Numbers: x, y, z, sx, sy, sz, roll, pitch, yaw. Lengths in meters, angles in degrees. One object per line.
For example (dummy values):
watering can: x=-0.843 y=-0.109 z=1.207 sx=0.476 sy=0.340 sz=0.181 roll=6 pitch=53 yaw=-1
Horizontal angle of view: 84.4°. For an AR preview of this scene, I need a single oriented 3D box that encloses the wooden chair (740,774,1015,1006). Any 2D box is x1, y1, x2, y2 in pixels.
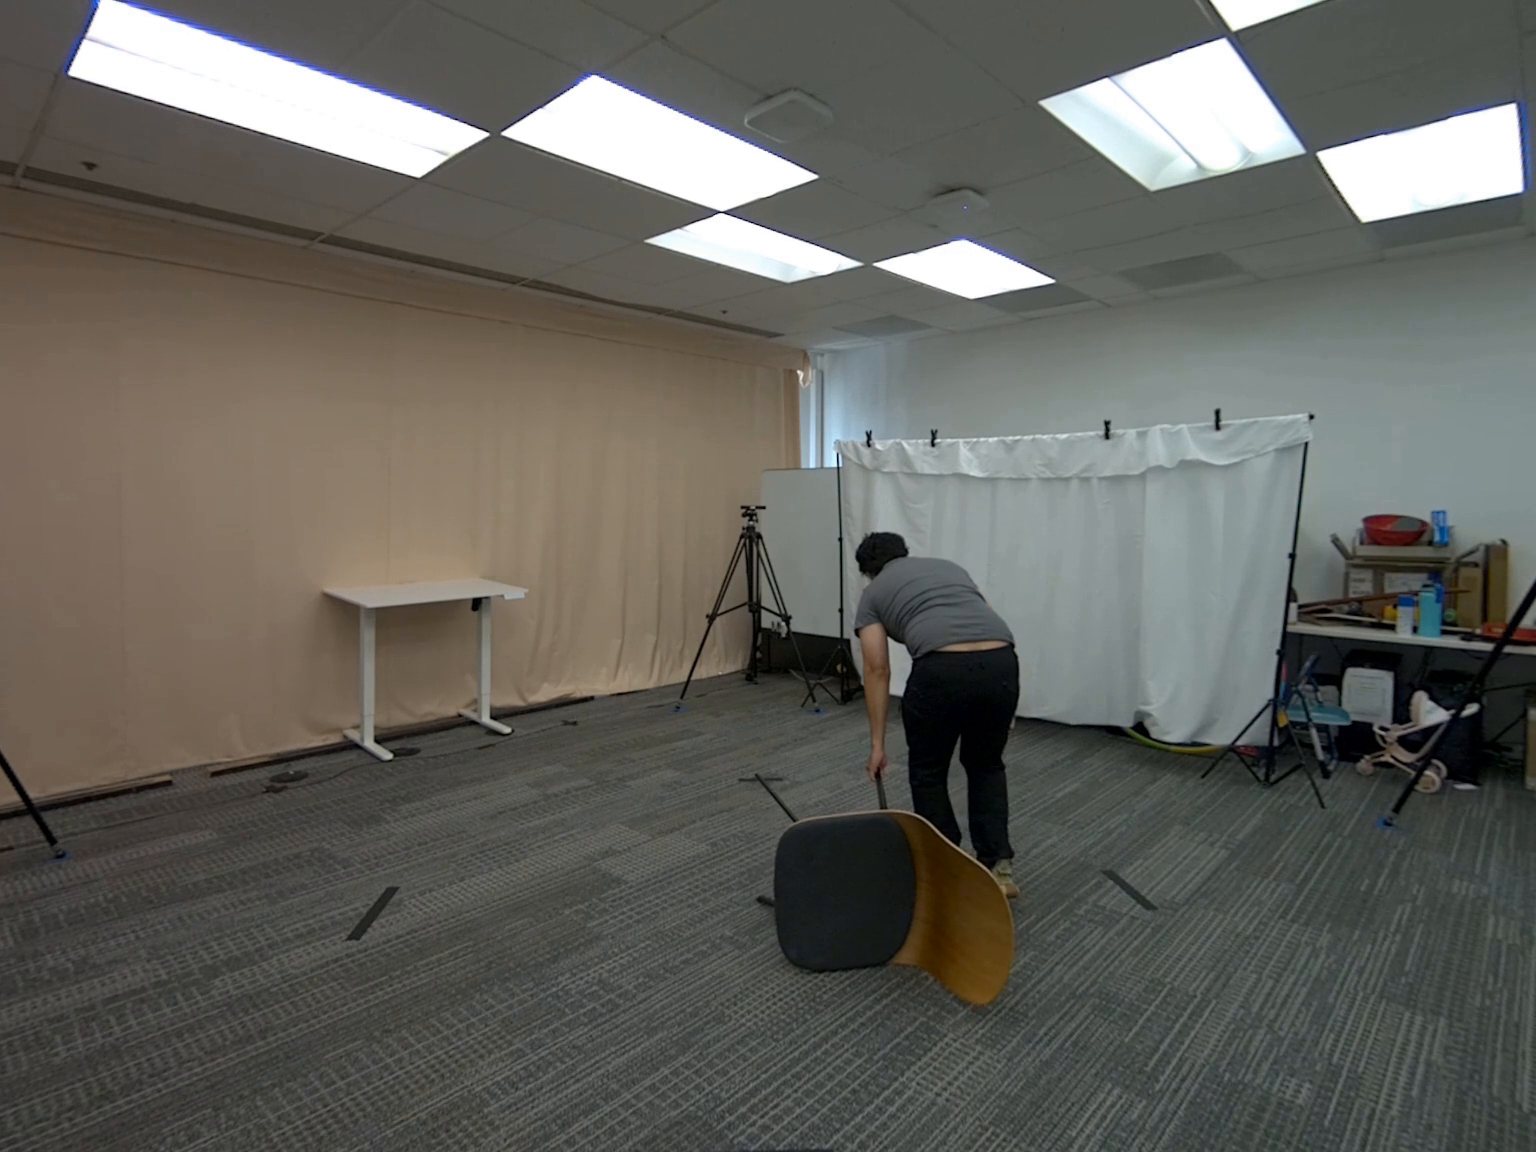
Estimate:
wooden chair: x=0.277 y=0.943 z=2.580 sx=0.515 sy=0.477 sz=0.894 roll=-2 pitch=5 yaw=-17
